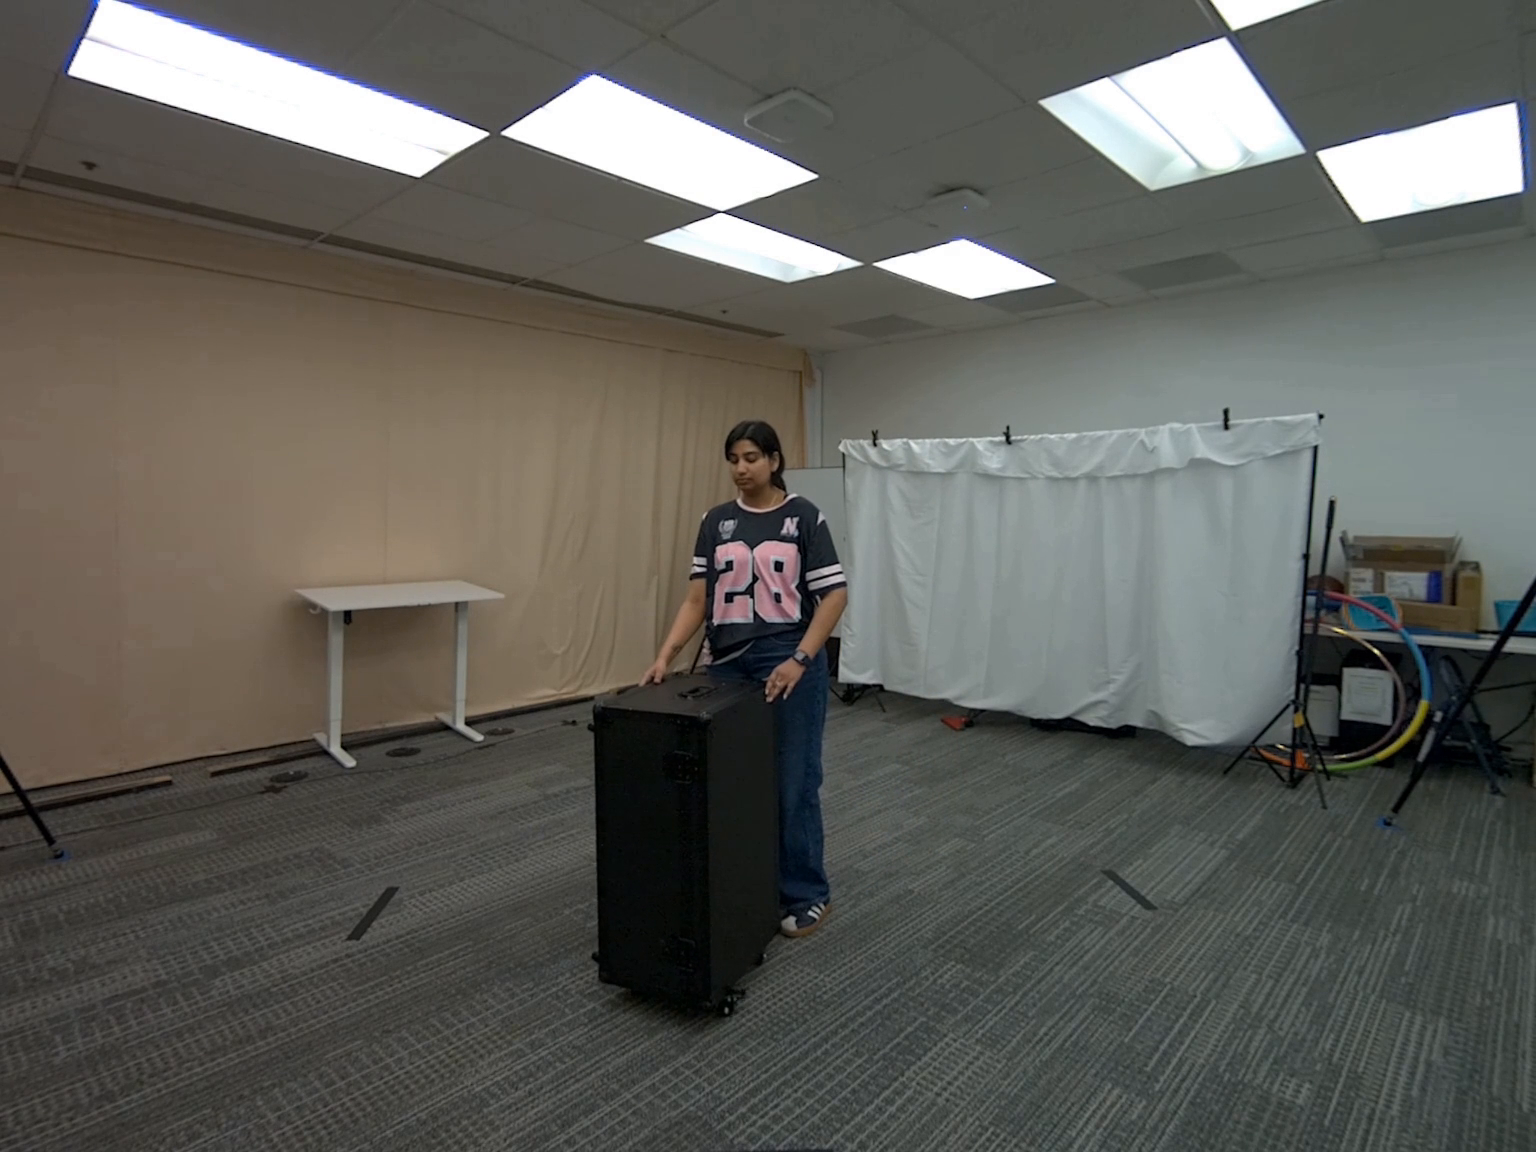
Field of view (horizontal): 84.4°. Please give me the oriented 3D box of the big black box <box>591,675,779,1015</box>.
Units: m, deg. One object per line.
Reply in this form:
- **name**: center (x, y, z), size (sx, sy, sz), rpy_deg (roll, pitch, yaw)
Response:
- **big black box**: center (-0.231, 0.771, 2.459), size (0.395, 0.867, 0.511), rpy_deg (0, 3, 24)
